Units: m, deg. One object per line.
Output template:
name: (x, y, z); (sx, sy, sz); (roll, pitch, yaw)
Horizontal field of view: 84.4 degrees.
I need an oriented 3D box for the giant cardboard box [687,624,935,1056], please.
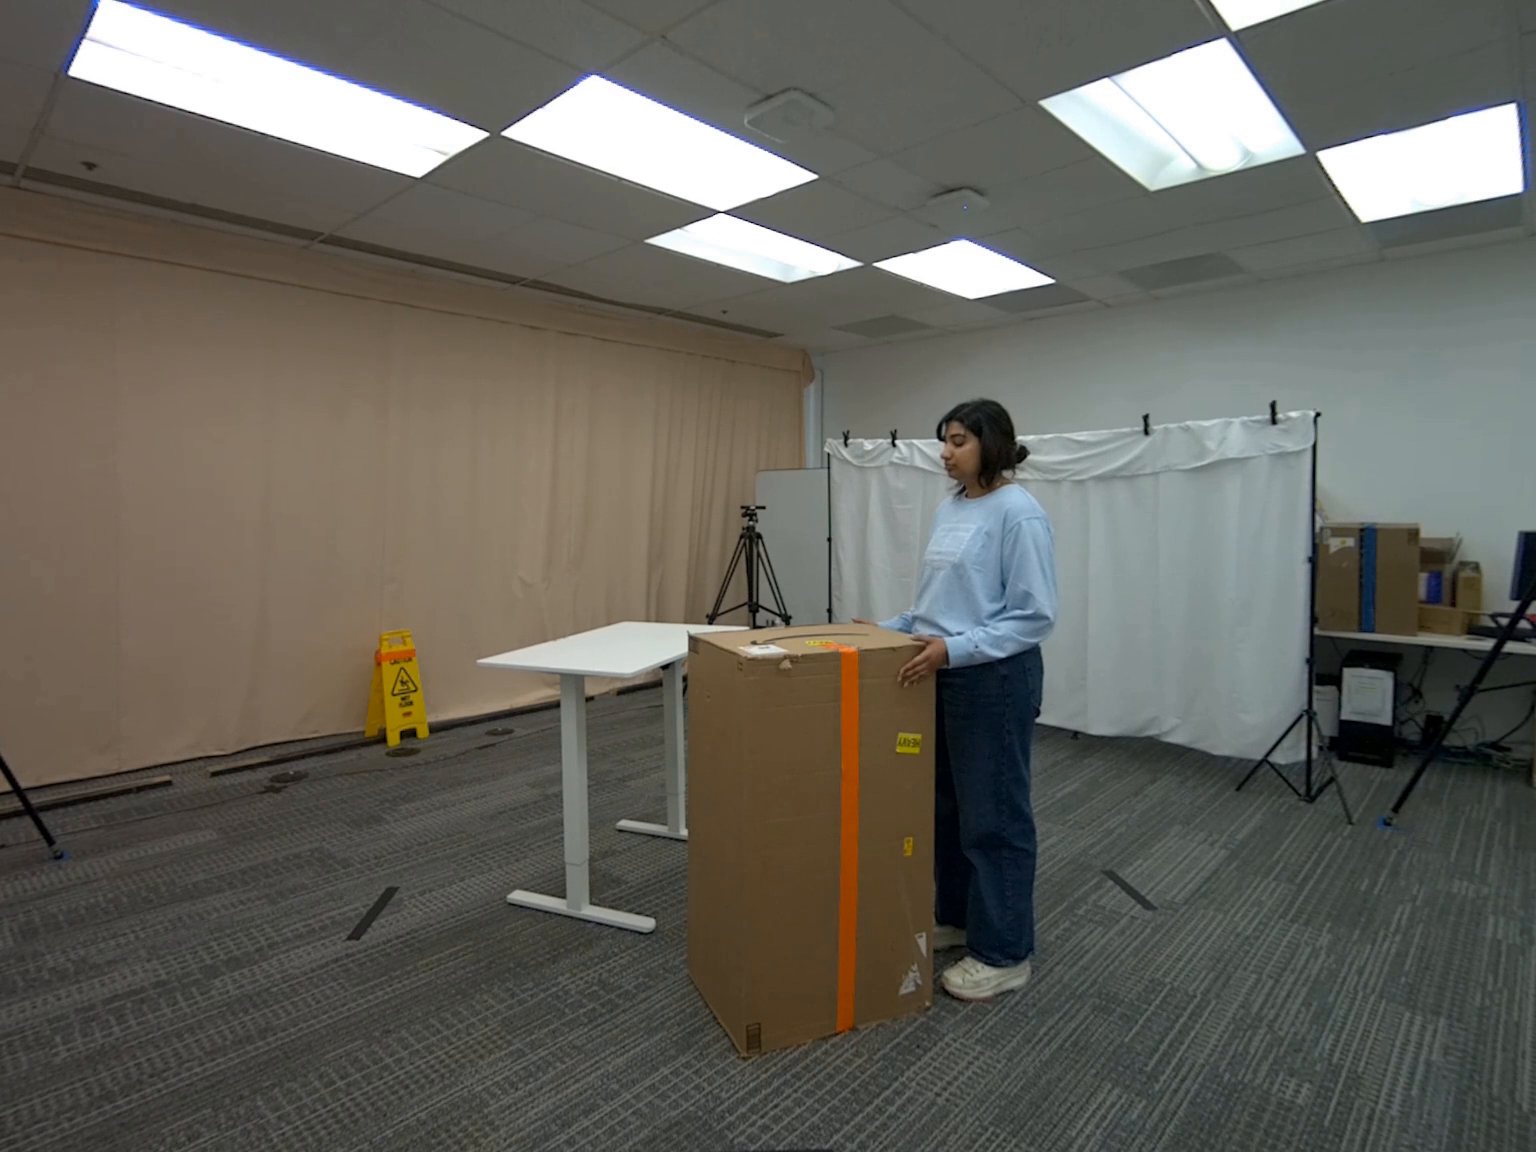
giant cardboard box: (0.111, 0.689, 2.392); (0.564, 1.024, 0.437); (-1, 4, -24)
